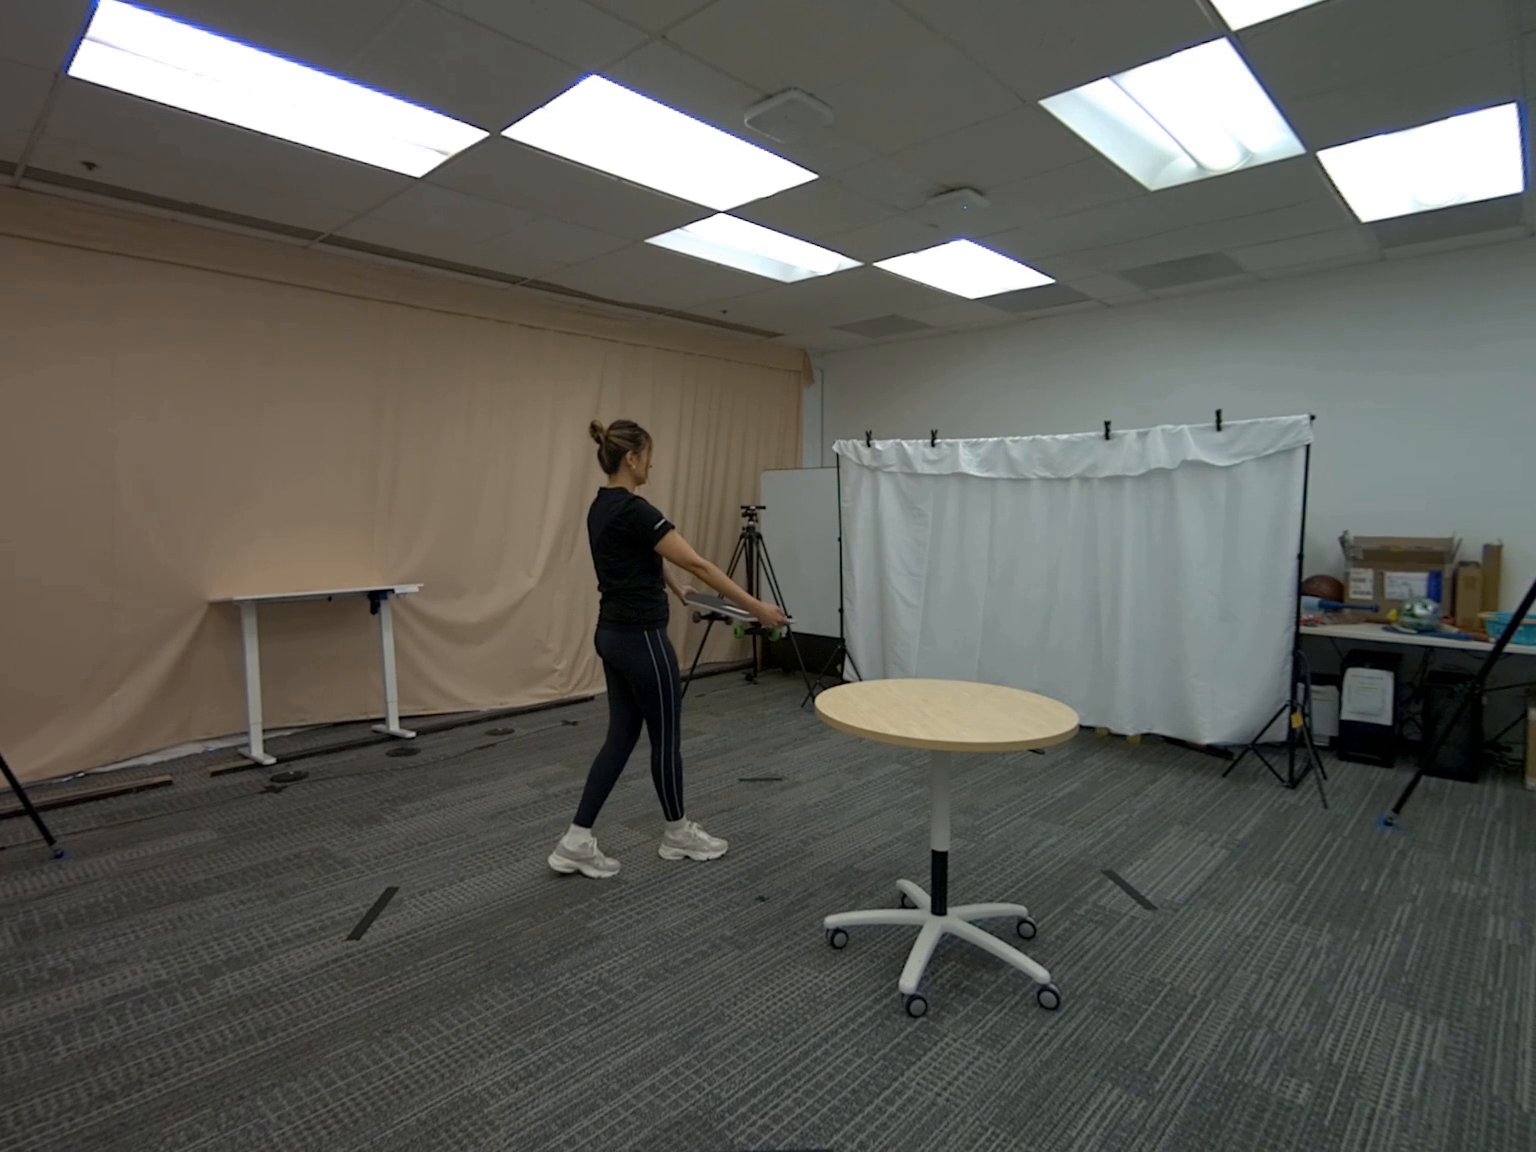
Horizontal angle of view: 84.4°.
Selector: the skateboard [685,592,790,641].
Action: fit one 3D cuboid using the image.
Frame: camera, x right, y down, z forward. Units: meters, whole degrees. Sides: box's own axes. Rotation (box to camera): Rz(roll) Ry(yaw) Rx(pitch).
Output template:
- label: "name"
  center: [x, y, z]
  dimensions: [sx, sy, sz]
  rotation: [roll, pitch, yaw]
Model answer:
- label: "skateboard"
  center: [-0.128, 0.174, 3.389]
  dimensions: [0.188, 0.110, 0.808]
  rotation: [5, 4, -28]
